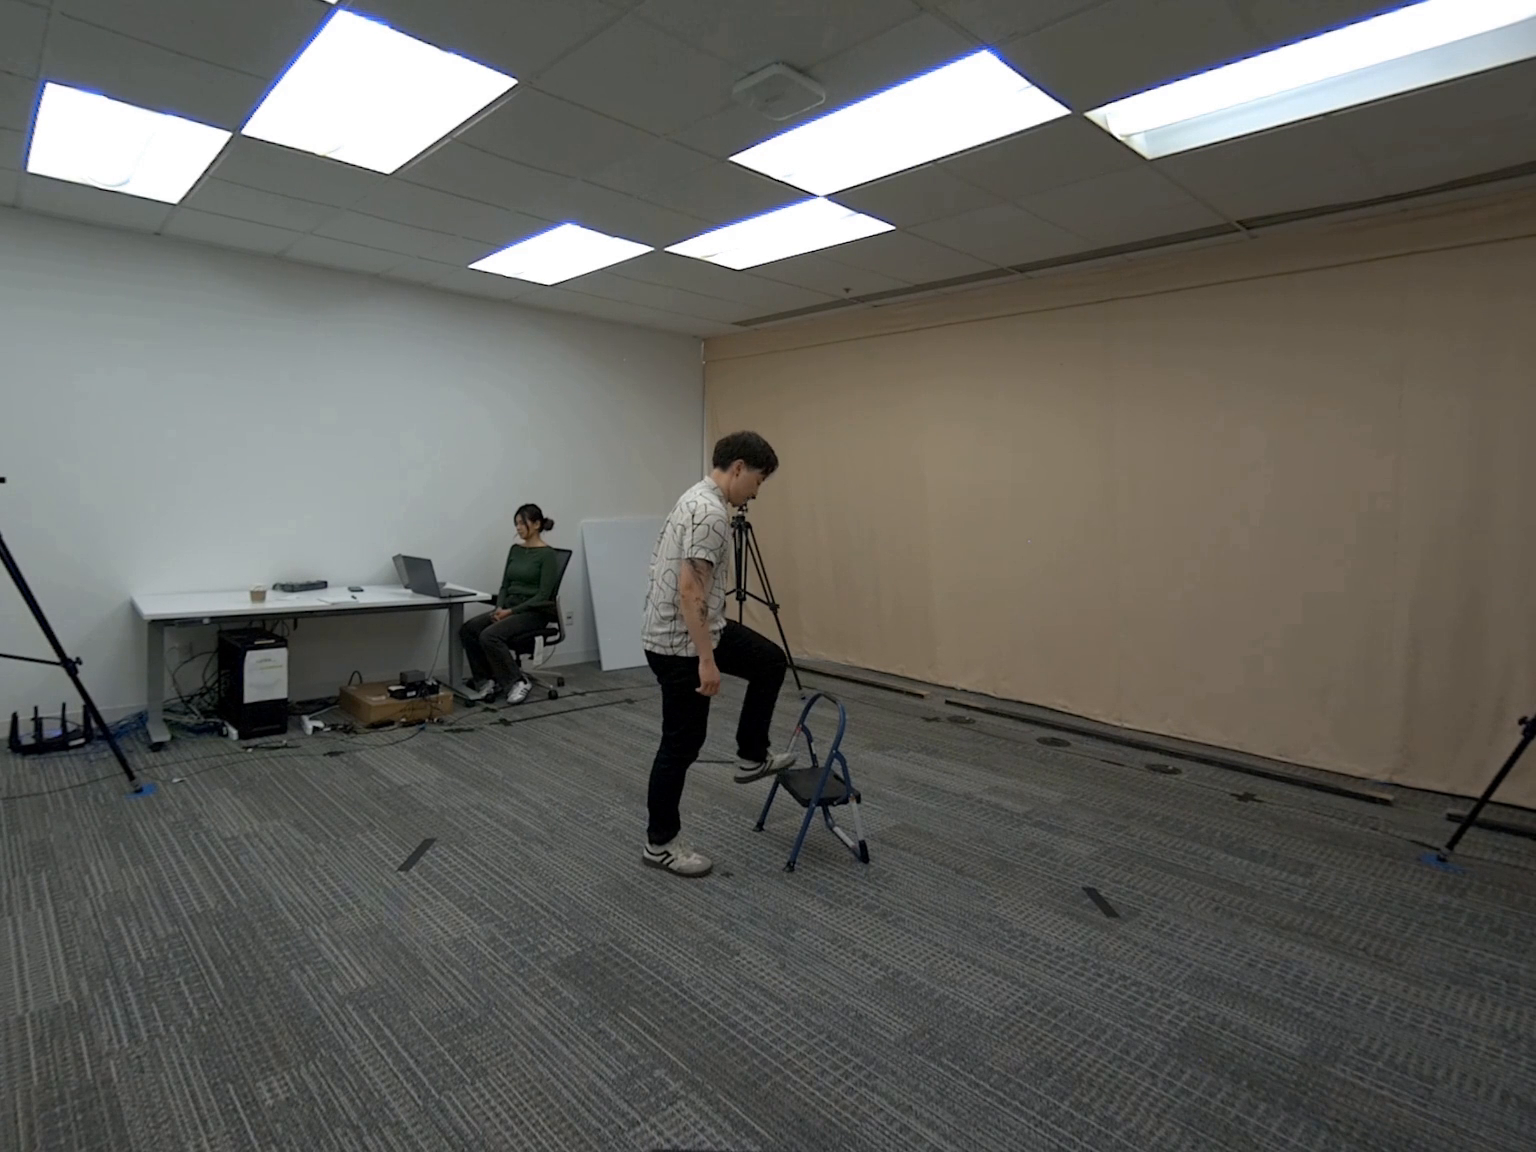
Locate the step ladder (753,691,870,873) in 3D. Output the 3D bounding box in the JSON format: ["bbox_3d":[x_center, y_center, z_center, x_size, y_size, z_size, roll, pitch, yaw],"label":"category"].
[{"bbox_3d":[0.167,0.780,3.364,0.345,0.605,0.437,1,3,-17],"label":"step ladder"}]
